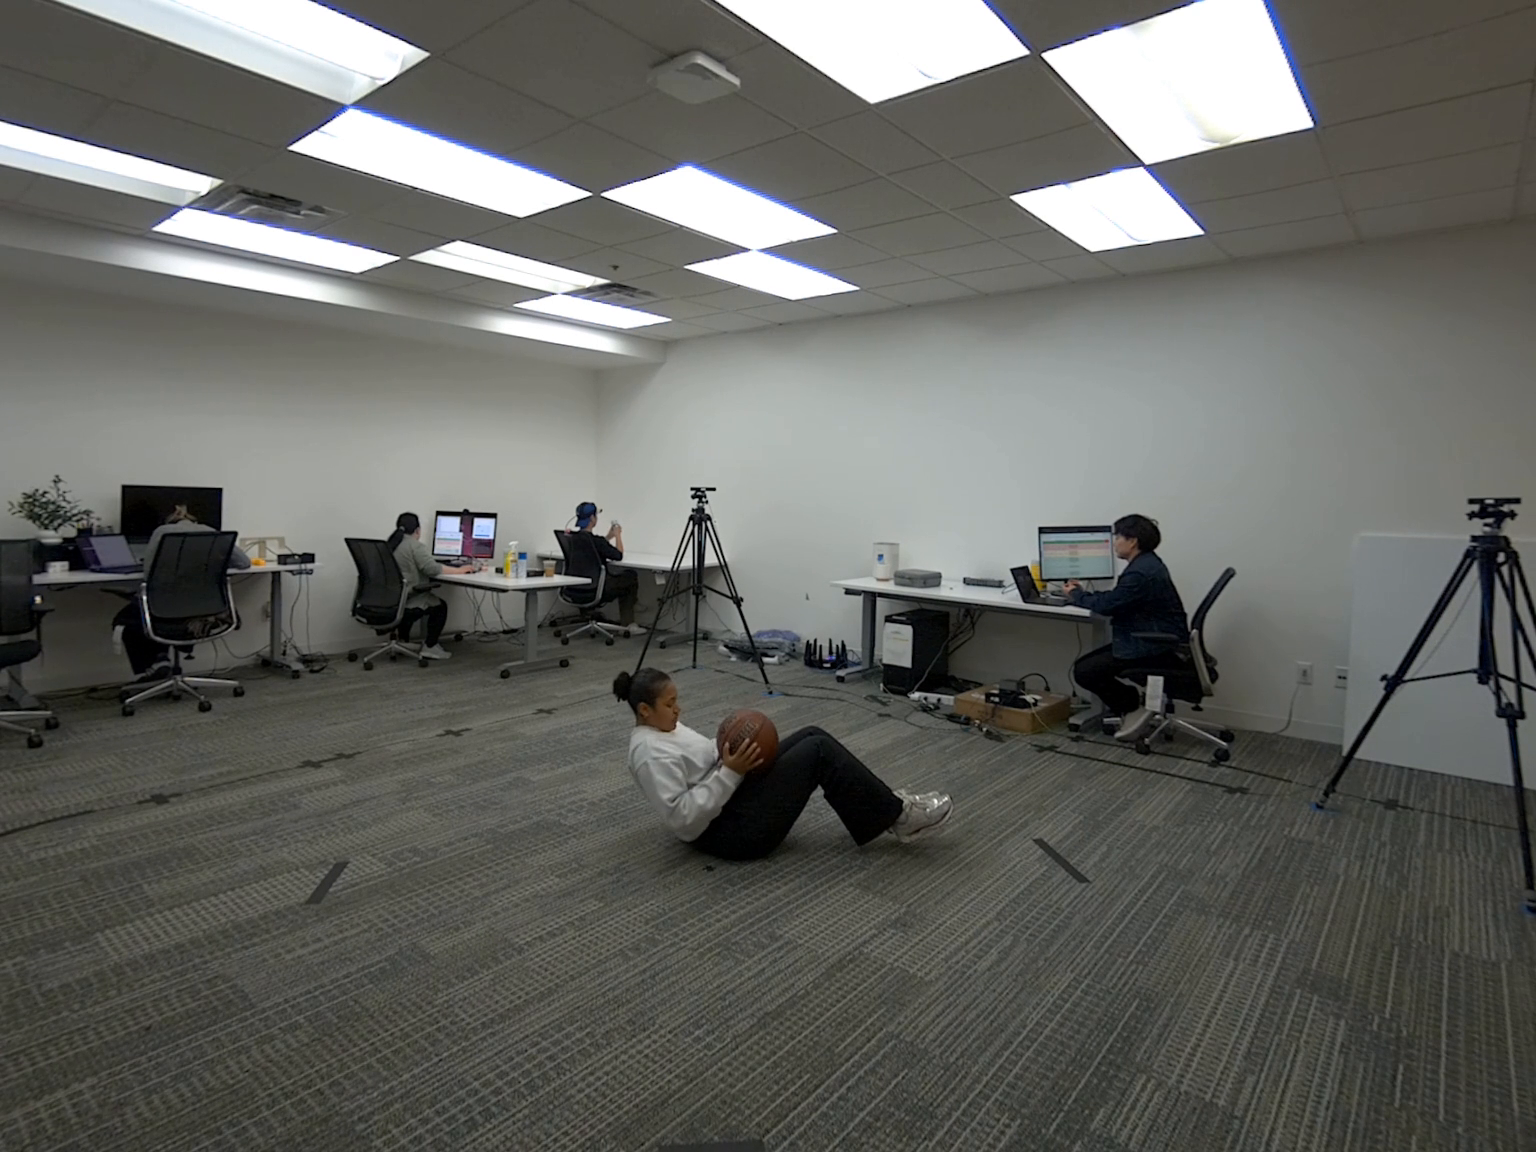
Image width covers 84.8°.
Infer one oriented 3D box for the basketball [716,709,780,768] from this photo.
[{"bbox_3d":[-0.102,0.644,3.256,0.235,0.235,0.237,1,4,-2],"label":"basketball"}]
